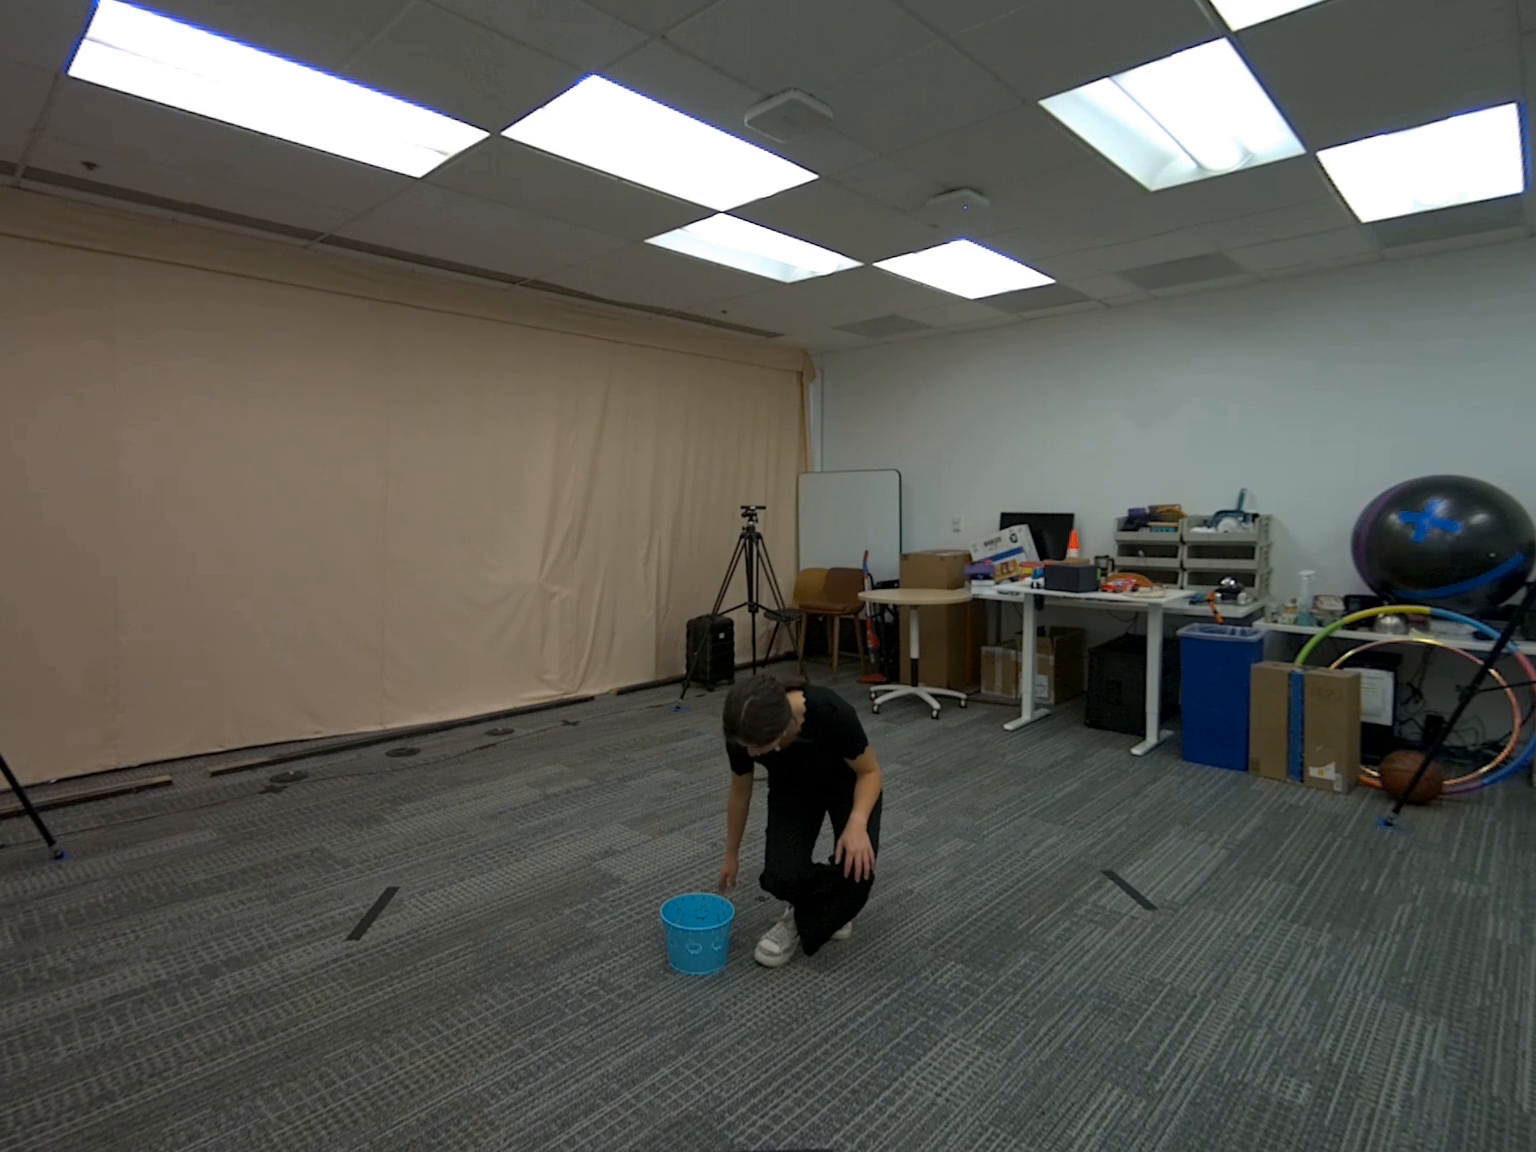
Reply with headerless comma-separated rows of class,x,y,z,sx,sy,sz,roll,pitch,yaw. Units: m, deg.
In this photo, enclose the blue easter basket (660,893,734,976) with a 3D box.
blue easter basket,-0.218,1.102,2.592,0.243,0.155,0.244,0,5,-2
